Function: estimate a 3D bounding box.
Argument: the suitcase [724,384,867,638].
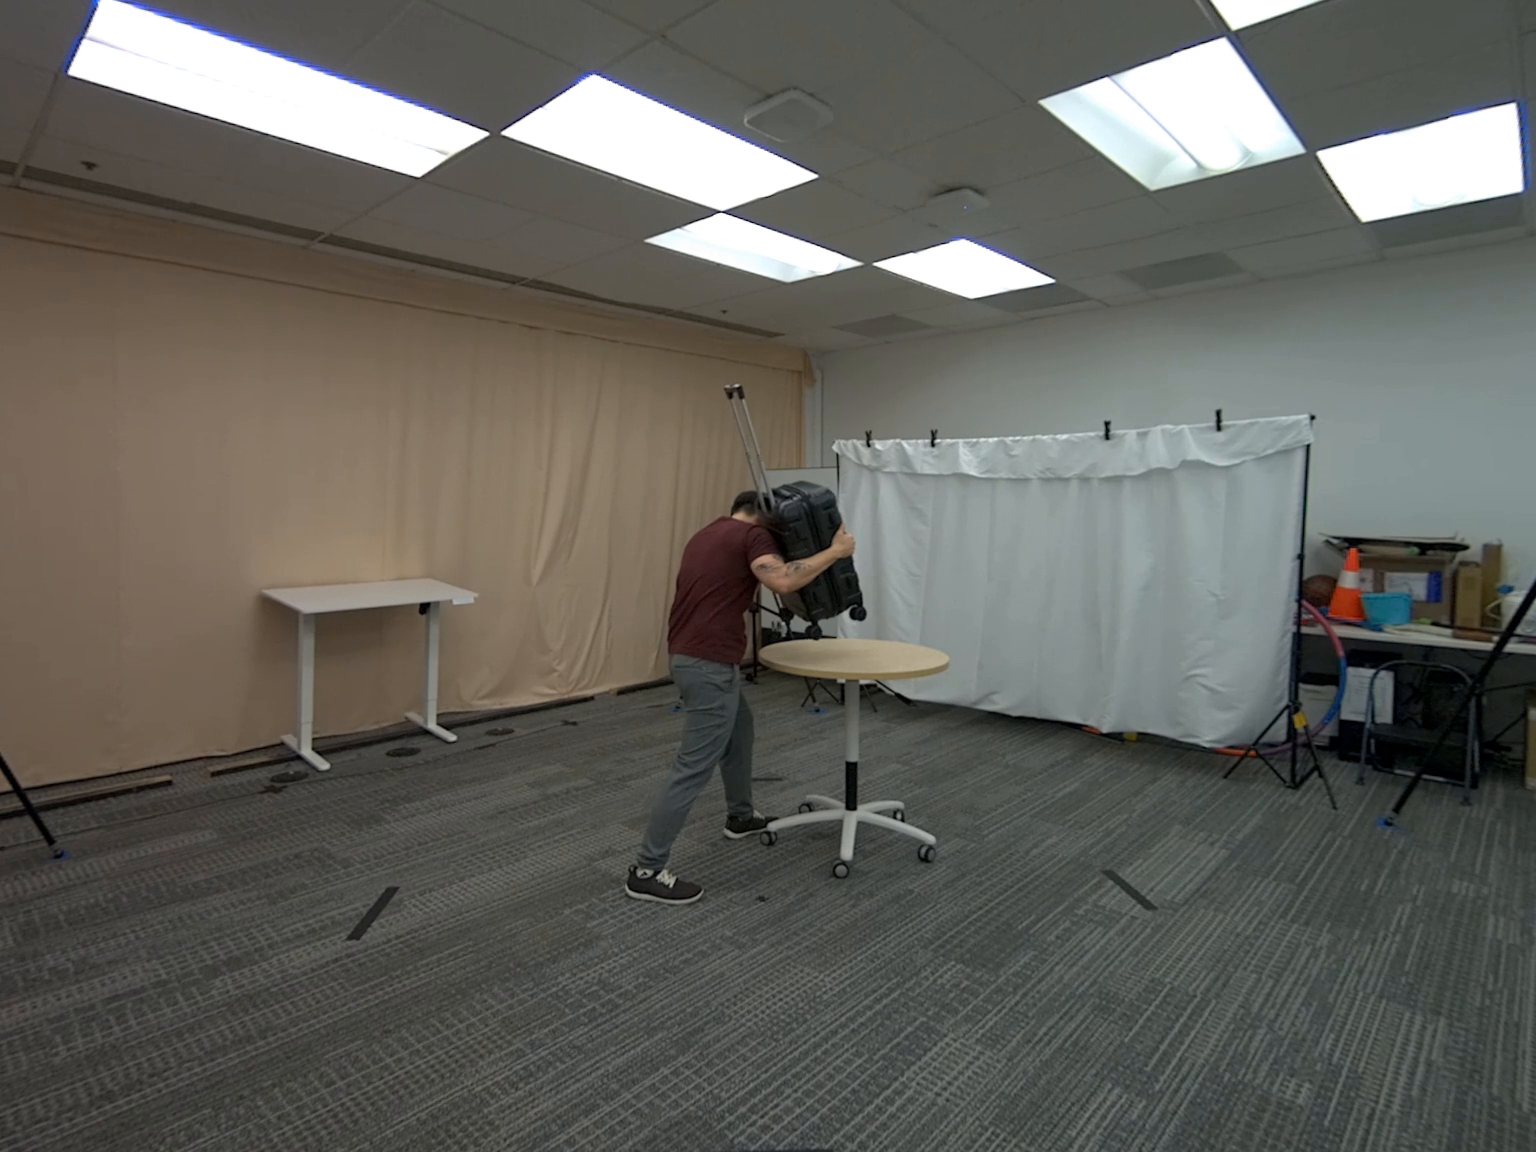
[{"bbox_3d":[0.105,-0.280,3.231,0.254,0.966,0.393,-19,15,-14],"label":"suitcase"}]
